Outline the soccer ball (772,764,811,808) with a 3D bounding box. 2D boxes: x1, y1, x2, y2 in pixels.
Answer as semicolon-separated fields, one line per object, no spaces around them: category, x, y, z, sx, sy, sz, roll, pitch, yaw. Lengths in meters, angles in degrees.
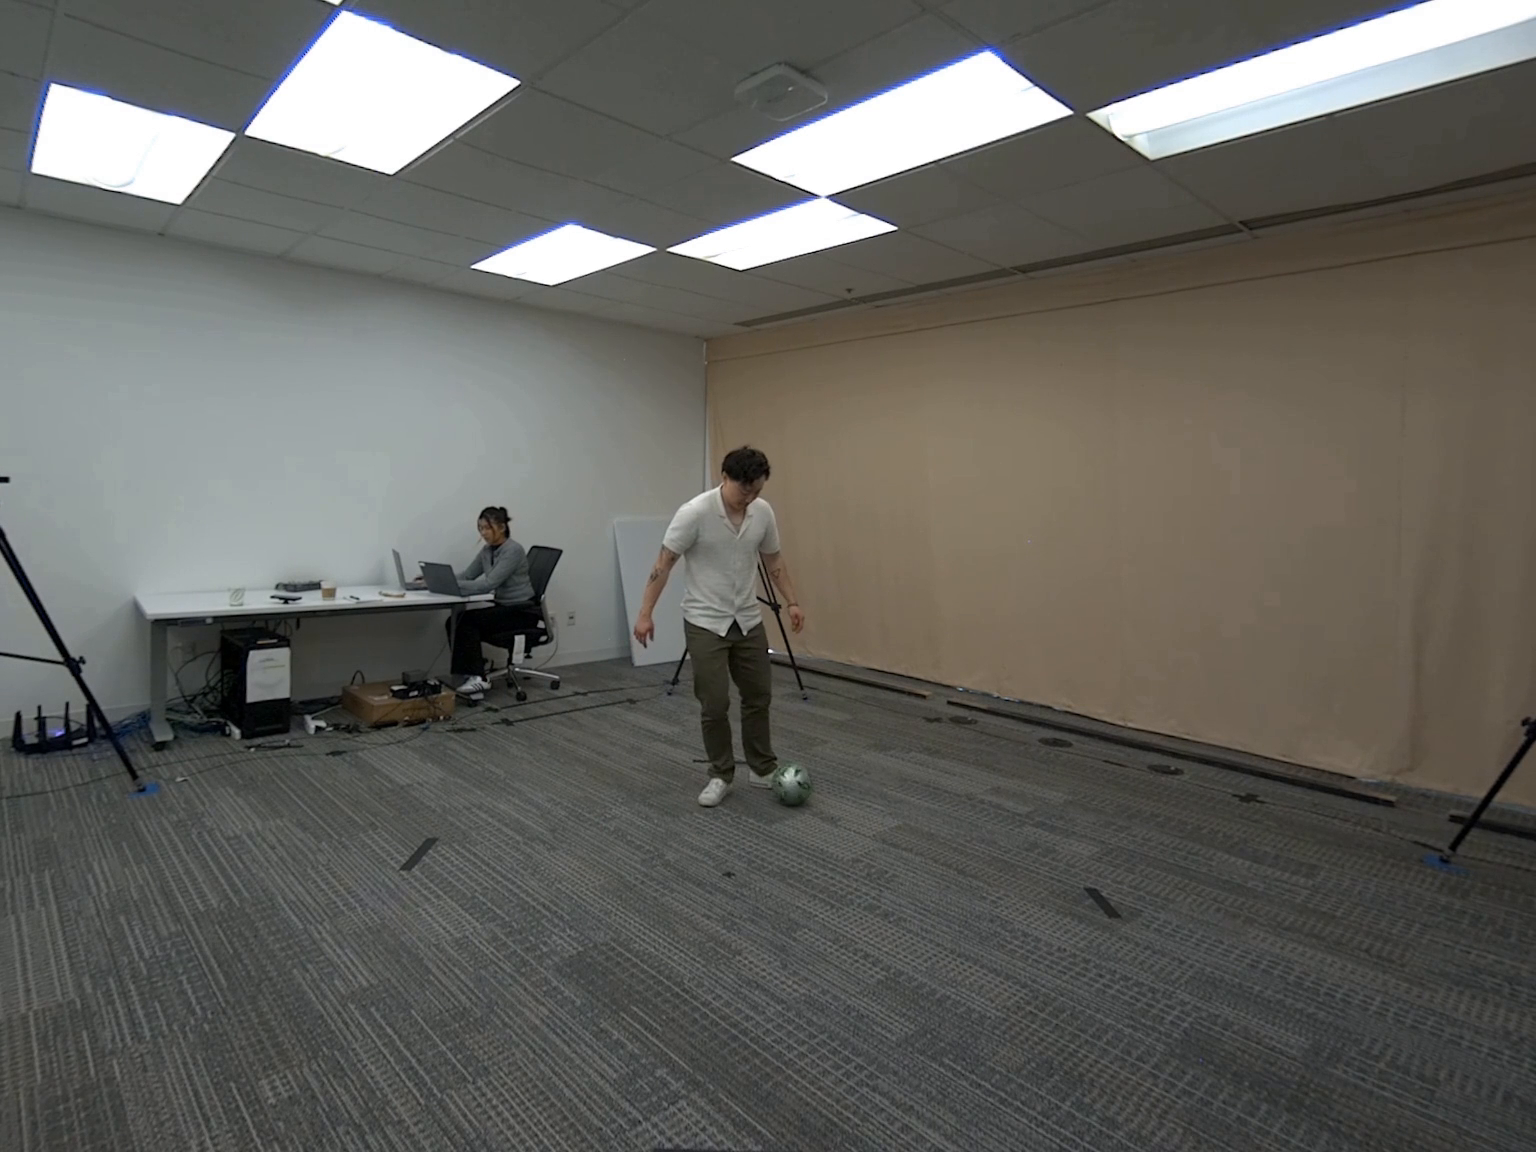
soccer ball;0.092;0.953;3.849;0.187;0.187;0.188;1;4;-1
